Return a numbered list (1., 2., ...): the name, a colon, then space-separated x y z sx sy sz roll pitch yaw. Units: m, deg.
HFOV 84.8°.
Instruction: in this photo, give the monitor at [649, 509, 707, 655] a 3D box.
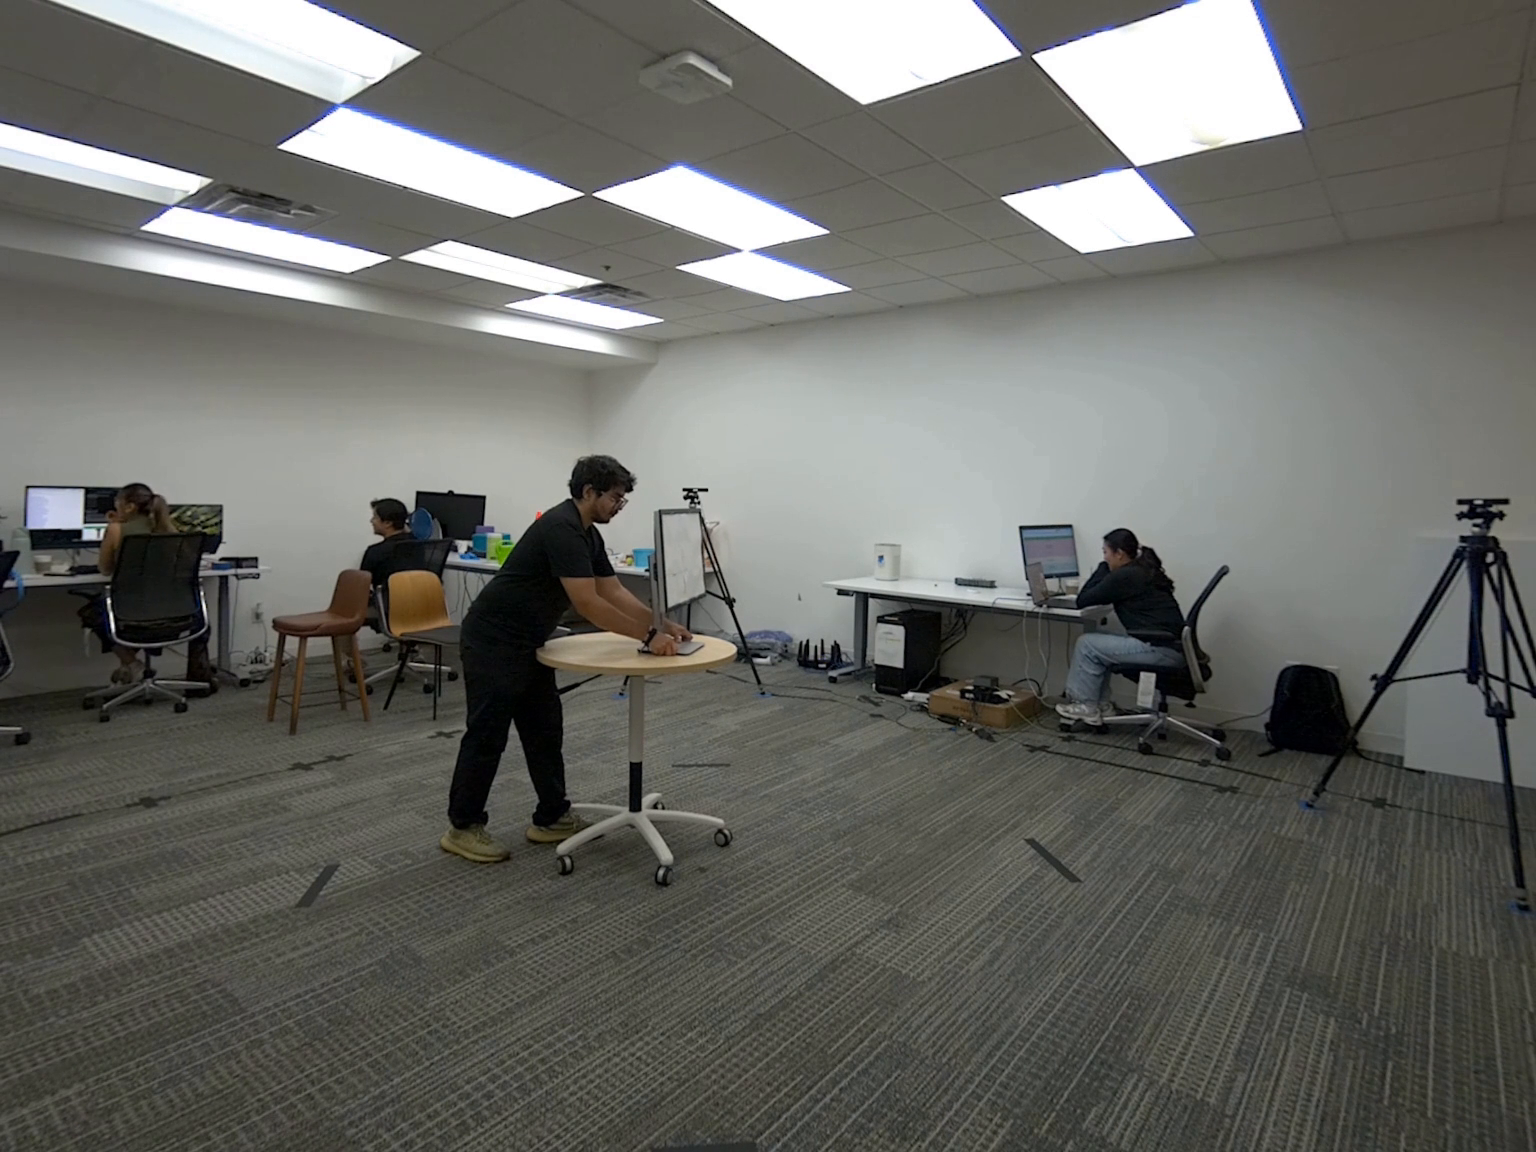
1. monitor: -0.399 0.013 3.244 0.213 0.553 0.559 0 3 11
